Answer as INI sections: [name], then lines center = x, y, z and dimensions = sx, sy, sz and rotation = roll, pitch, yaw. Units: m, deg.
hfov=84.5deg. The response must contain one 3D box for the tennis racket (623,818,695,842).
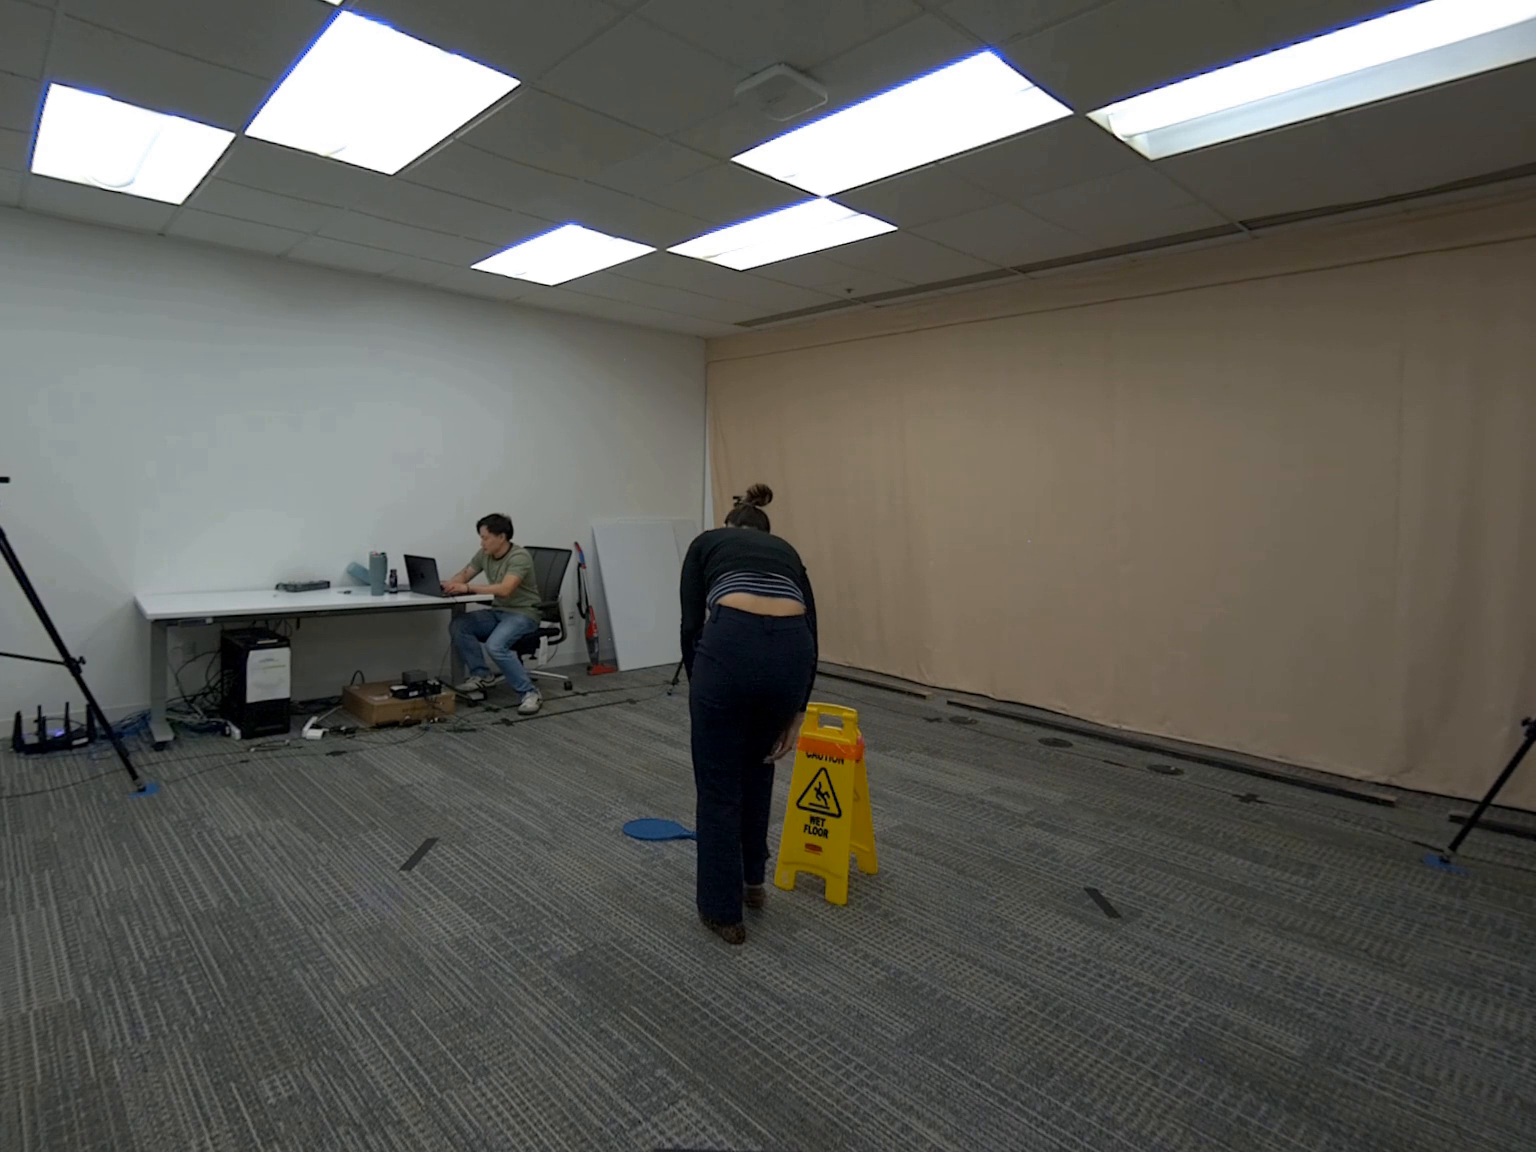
[tennis racket]
center = -0.405, 1.052, 3.461
dimensions = 0.441, 0.031, 0.210
rotation = 2, 6, 23
